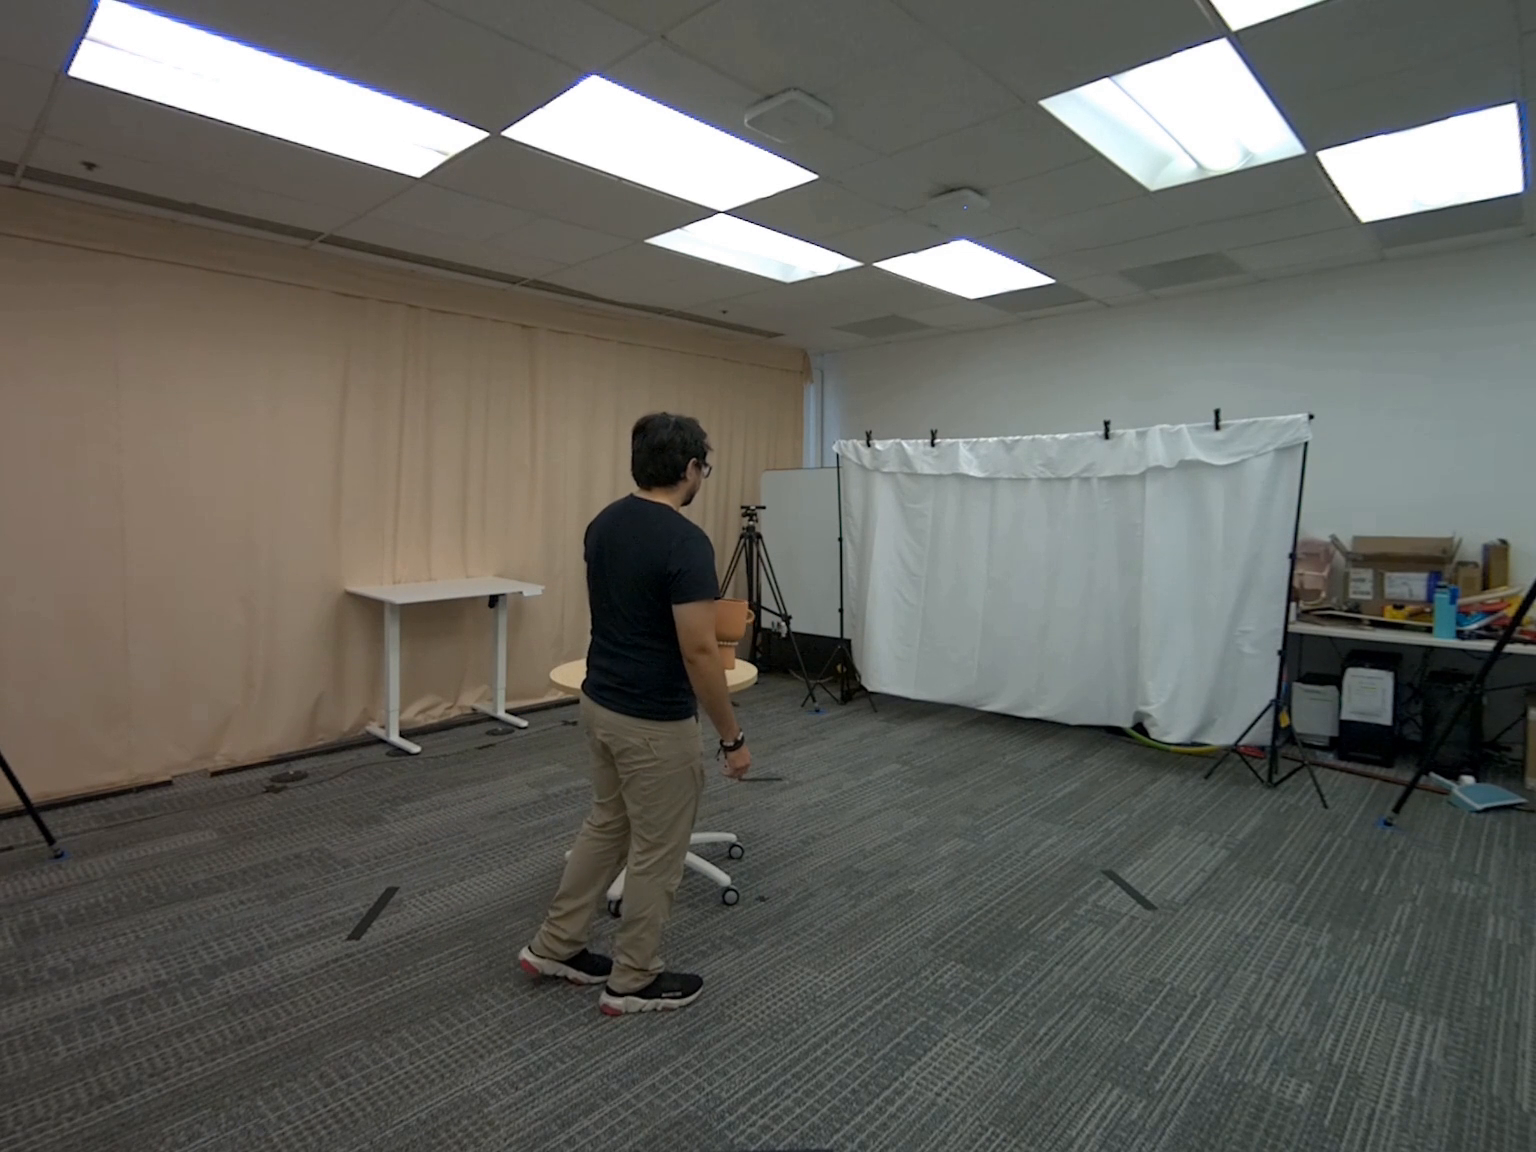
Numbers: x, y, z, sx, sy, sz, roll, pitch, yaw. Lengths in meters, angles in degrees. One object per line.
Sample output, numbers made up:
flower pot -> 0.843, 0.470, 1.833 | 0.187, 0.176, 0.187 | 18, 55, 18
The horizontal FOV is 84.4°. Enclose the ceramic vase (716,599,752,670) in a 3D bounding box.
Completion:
ceramic vase -> -0.139, 0.186, 2.723 | 0.161, 0.220, 0.132 | 5, -1, 15
